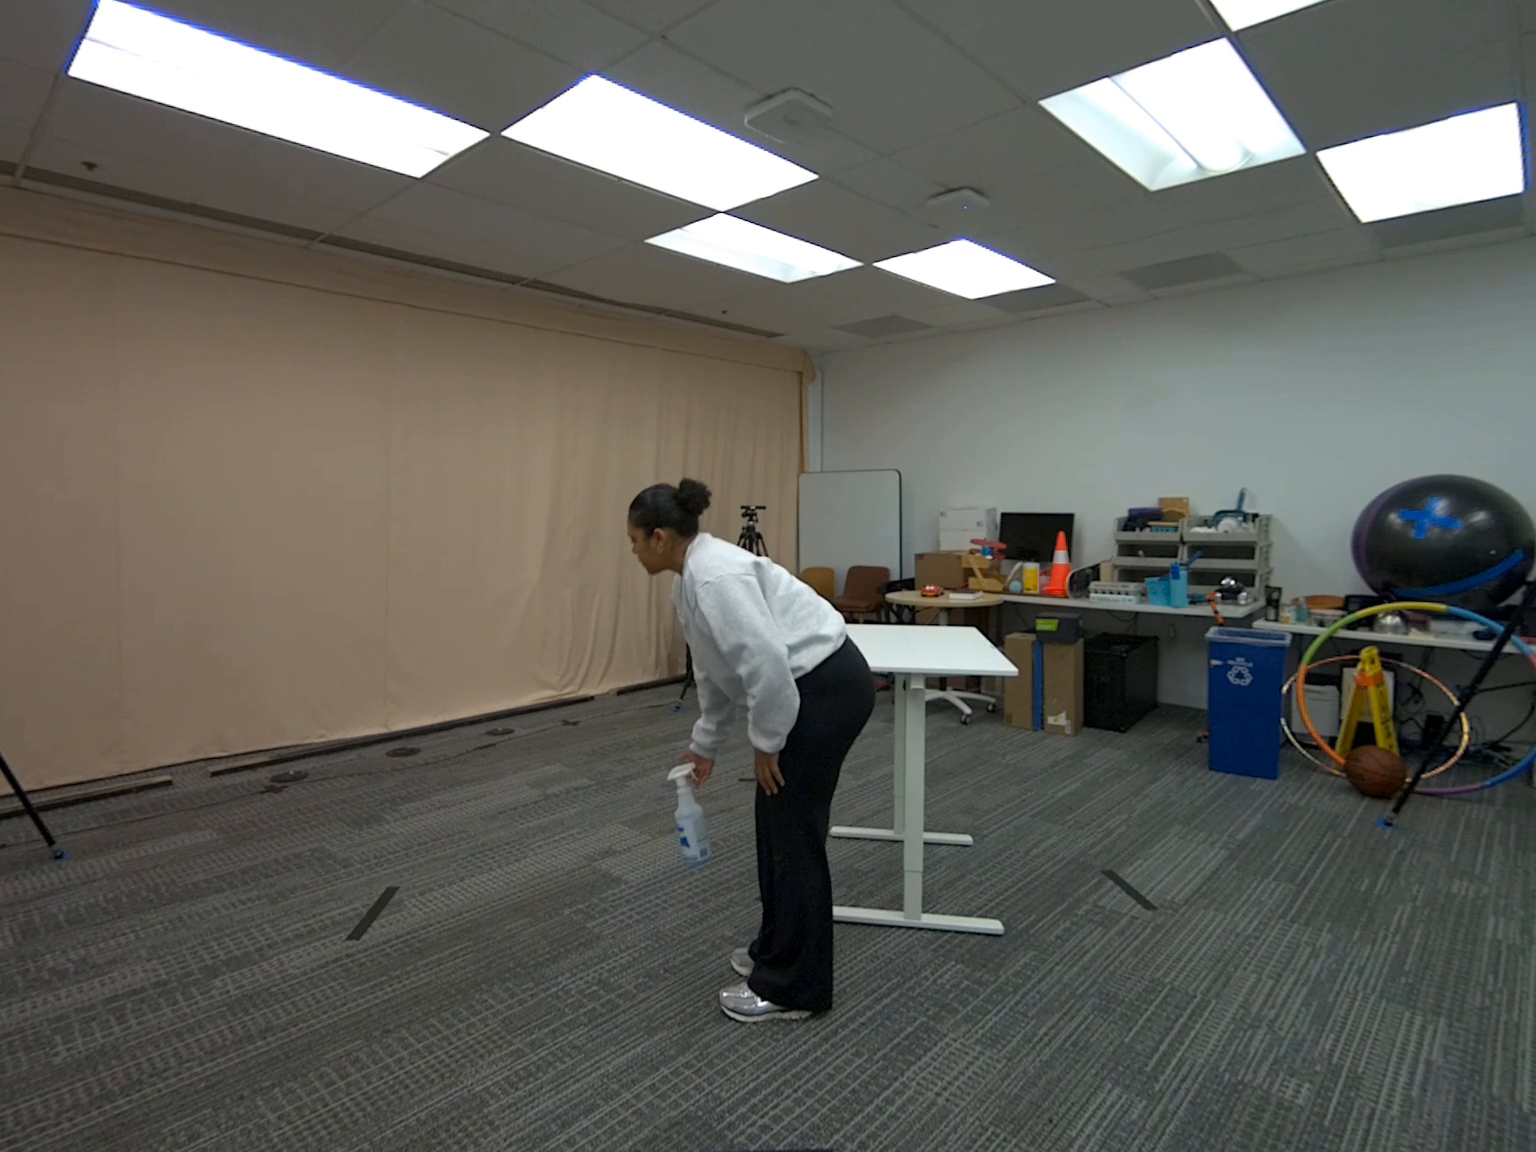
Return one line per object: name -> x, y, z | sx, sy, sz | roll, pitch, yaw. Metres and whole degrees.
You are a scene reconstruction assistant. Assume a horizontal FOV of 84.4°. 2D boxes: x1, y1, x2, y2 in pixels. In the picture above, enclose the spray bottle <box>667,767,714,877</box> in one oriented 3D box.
spray bottle -> -0.237, 0.744, 2.579 | 0.092, 0.297, 0.085 | -5, -1, 28
